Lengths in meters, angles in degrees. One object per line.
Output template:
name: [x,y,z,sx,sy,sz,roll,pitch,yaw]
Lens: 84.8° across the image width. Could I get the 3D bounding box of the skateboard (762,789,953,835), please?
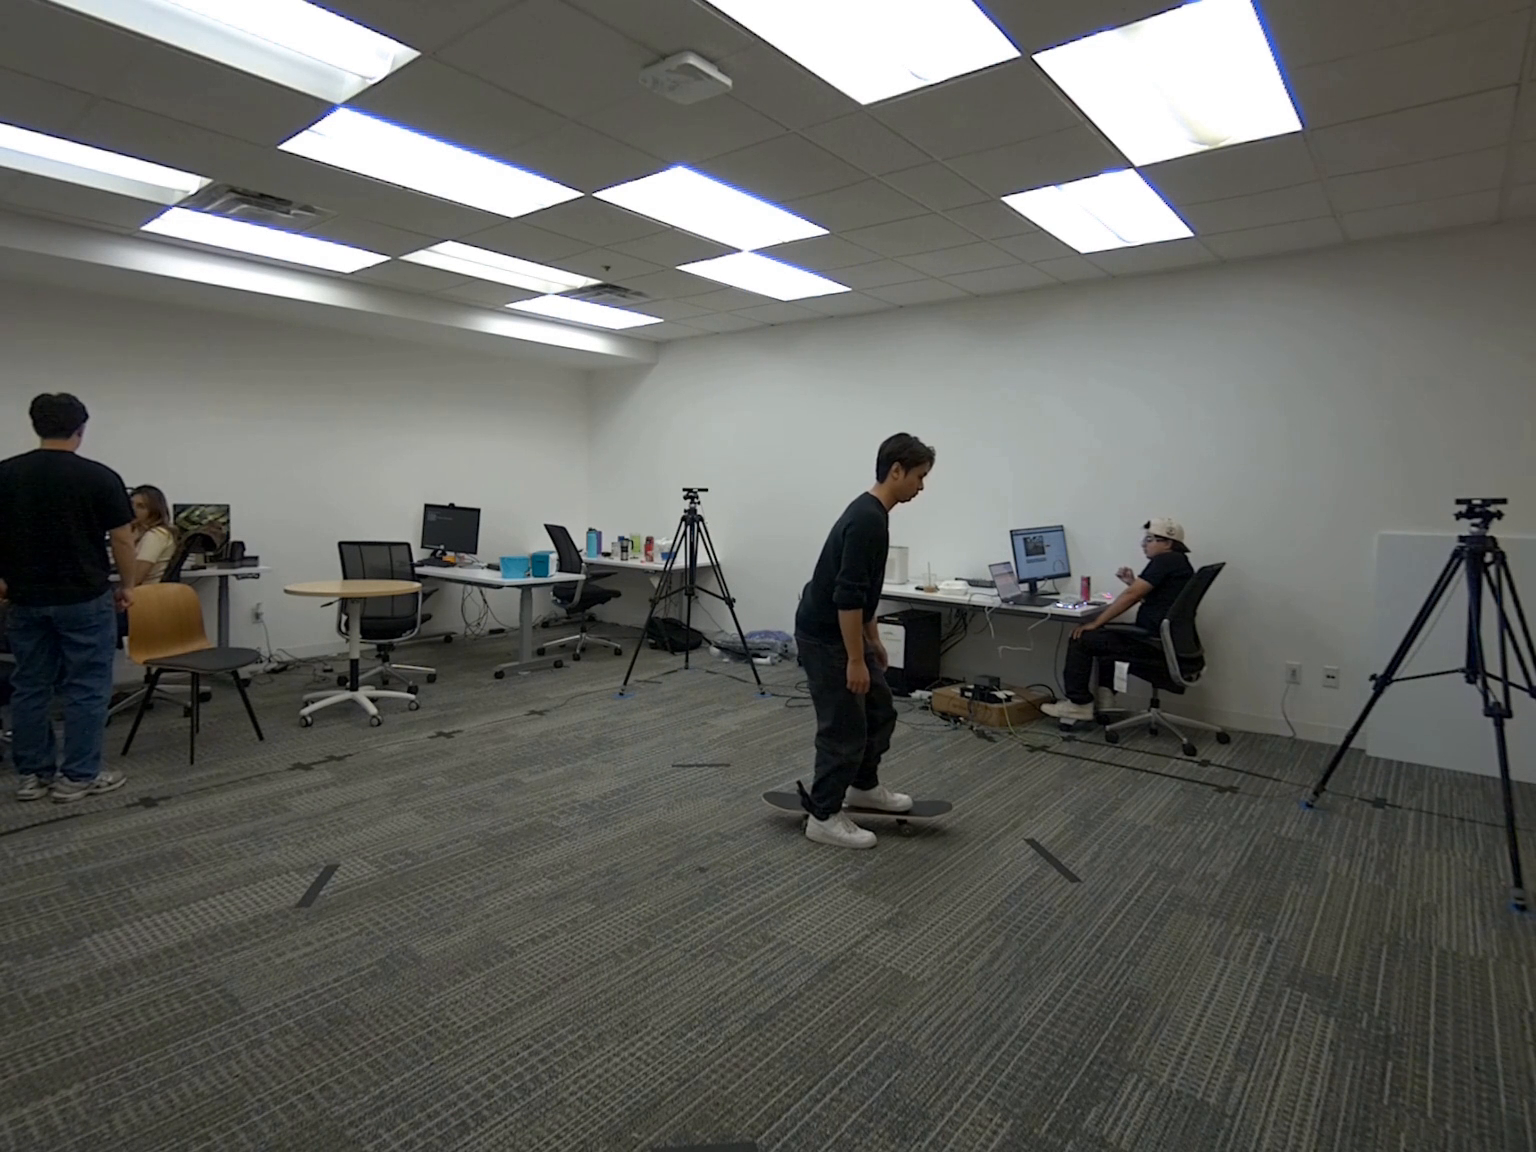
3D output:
skateboard: [0.356,0.978,3.543,0.789,0.110,0.193,3,5,4]
